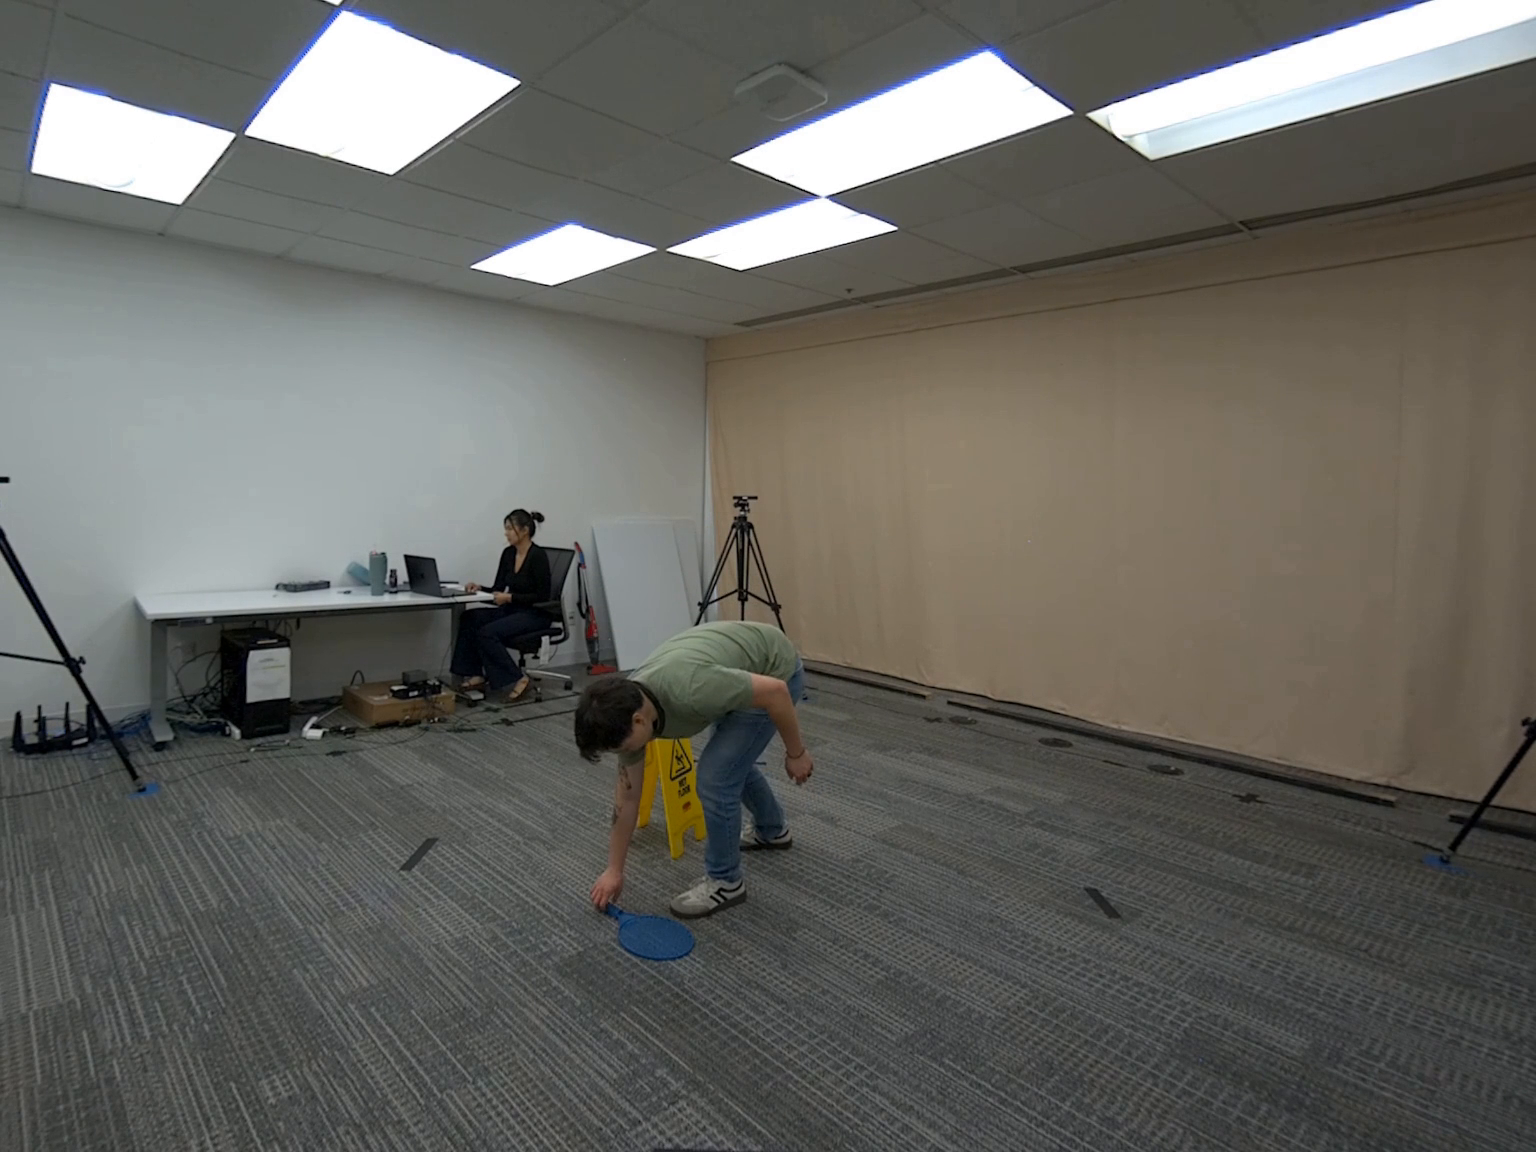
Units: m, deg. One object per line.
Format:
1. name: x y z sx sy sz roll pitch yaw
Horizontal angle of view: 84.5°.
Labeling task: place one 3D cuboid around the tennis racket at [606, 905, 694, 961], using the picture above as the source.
1. tennis racket: -0.408 1.127 2.681 0.209 0.031 0.444 -5 10 -44
